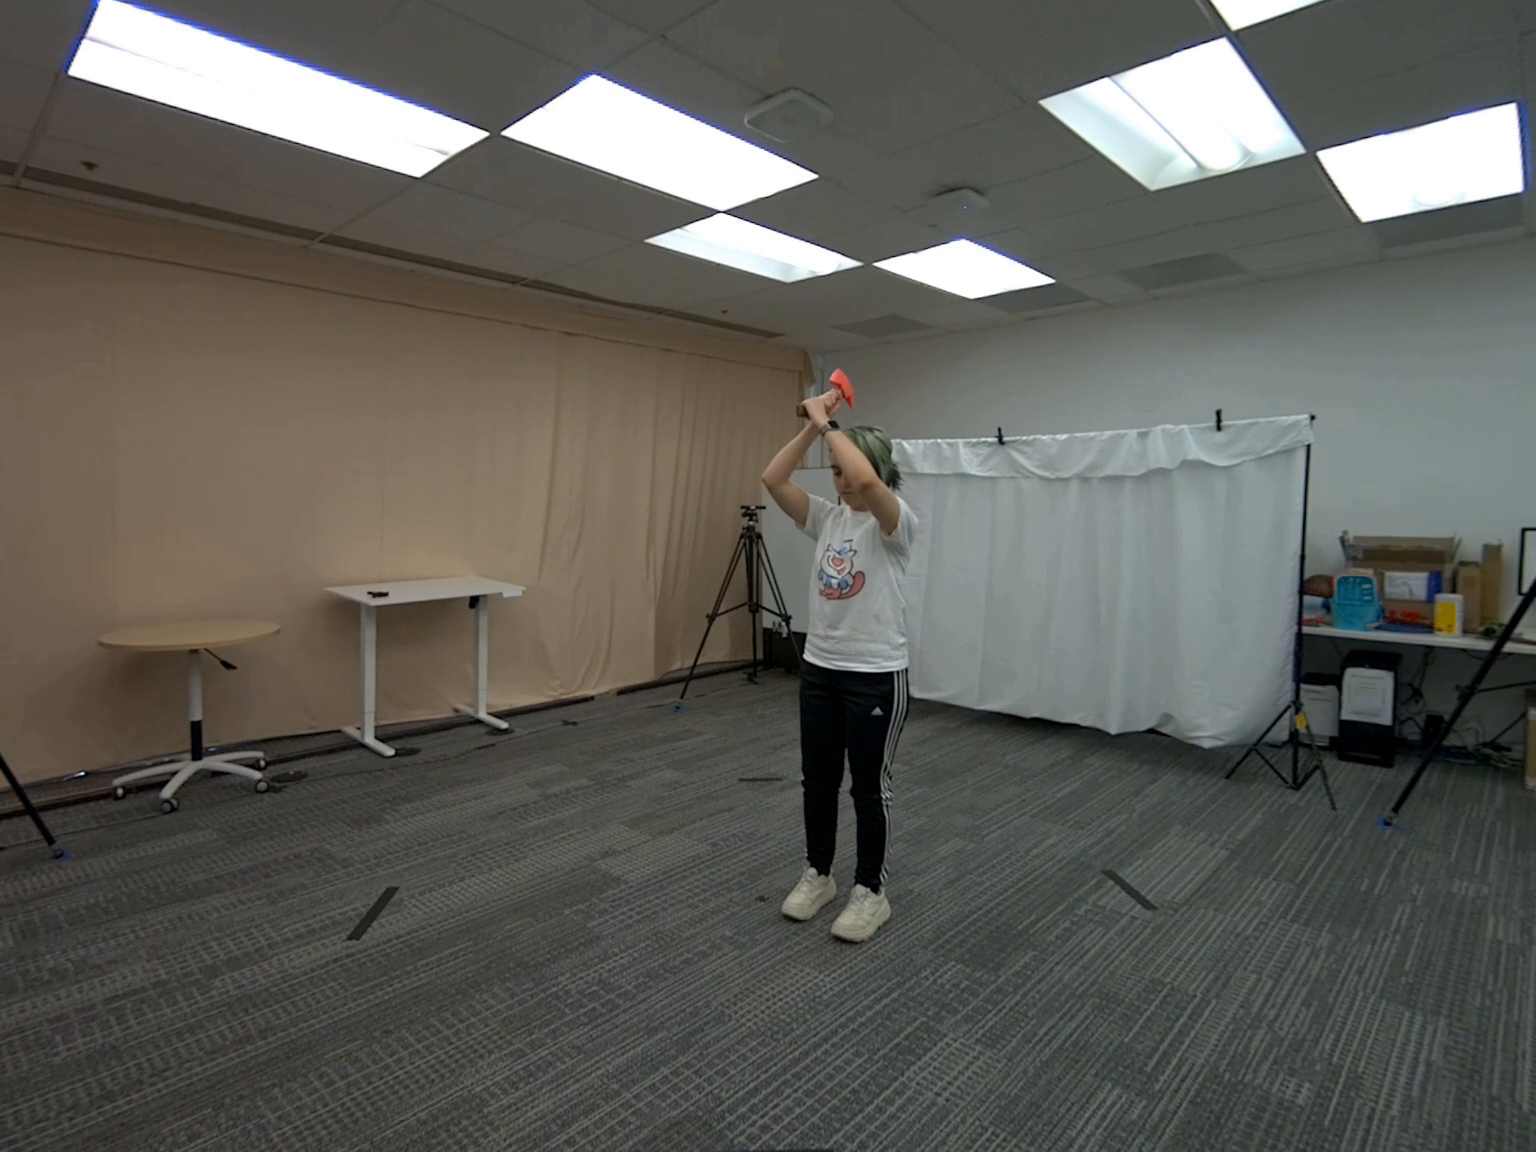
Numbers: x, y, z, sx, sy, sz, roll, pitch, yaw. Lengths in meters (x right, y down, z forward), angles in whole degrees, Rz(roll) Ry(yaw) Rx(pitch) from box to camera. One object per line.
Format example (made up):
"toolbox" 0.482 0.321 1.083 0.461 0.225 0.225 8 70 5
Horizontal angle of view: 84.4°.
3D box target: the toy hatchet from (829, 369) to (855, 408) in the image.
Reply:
"toy hatchet" 0.172 -0.572 2.611 0.030 0.130 0.263 0 14 45
